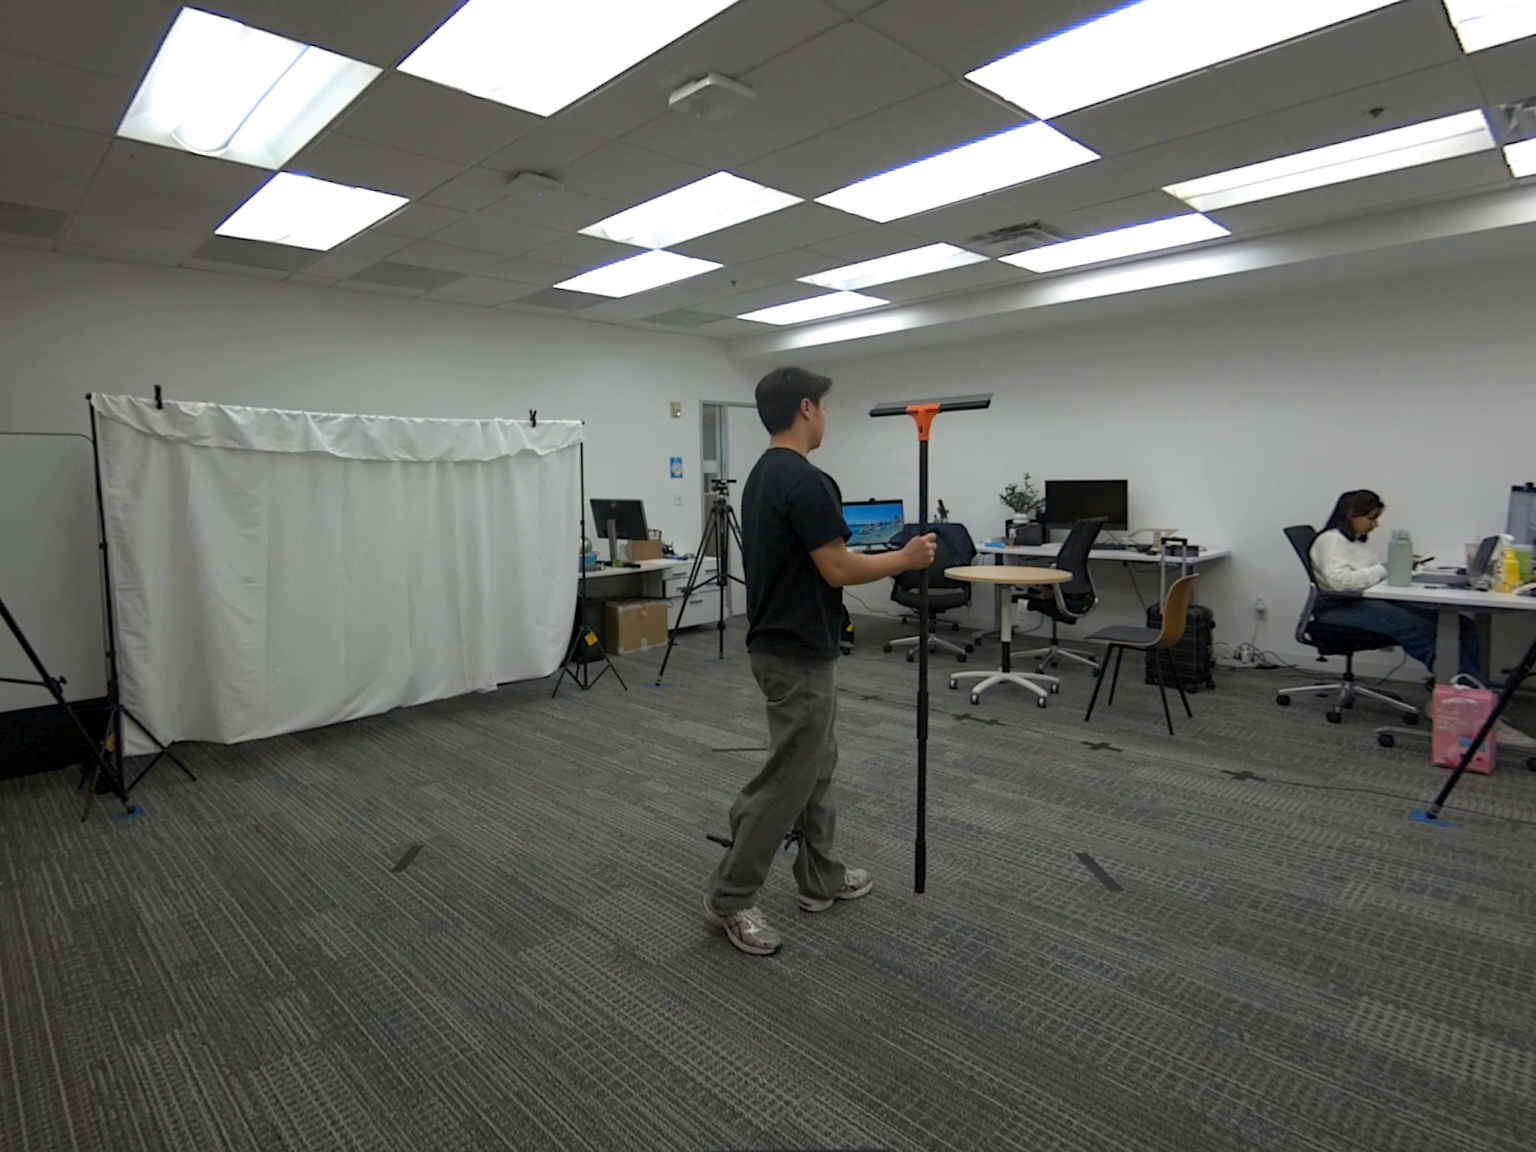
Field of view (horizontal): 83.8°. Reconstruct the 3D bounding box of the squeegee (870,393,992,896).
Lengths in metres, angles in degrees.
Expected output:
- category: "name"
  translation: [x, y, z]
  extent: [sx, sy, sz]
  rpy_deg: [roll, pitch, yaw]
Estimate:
- category: "squeegee"
  translation: [0.472, 0.241, 2.595]
  extent: [0.051, 1.534, 0.450]
  rpy_deg: [-1, 3, -38]
